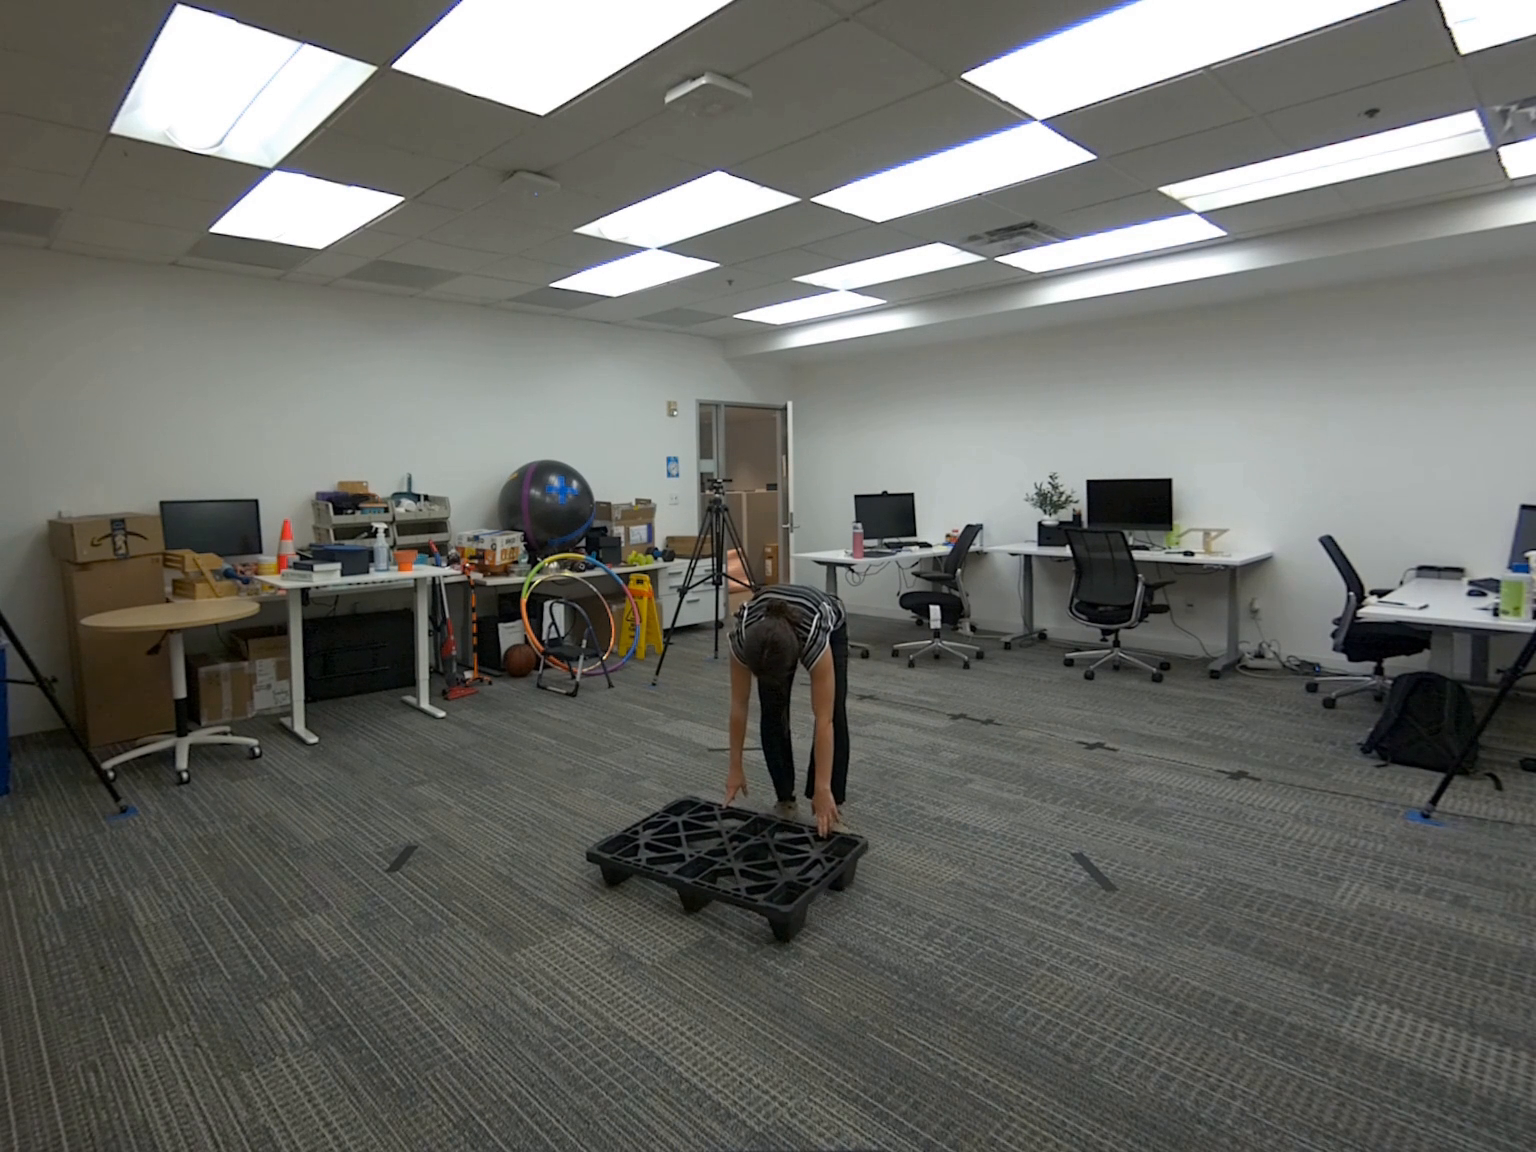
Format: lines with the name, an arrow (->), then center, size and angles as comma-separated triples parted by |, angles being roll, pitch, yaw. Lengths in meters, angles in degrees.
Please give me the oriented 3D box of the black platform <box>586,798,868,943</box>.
black platform -> -0.135, 0.995, 2.956 | 0.827, 0.142, 0.592 | 3, 8, 32
